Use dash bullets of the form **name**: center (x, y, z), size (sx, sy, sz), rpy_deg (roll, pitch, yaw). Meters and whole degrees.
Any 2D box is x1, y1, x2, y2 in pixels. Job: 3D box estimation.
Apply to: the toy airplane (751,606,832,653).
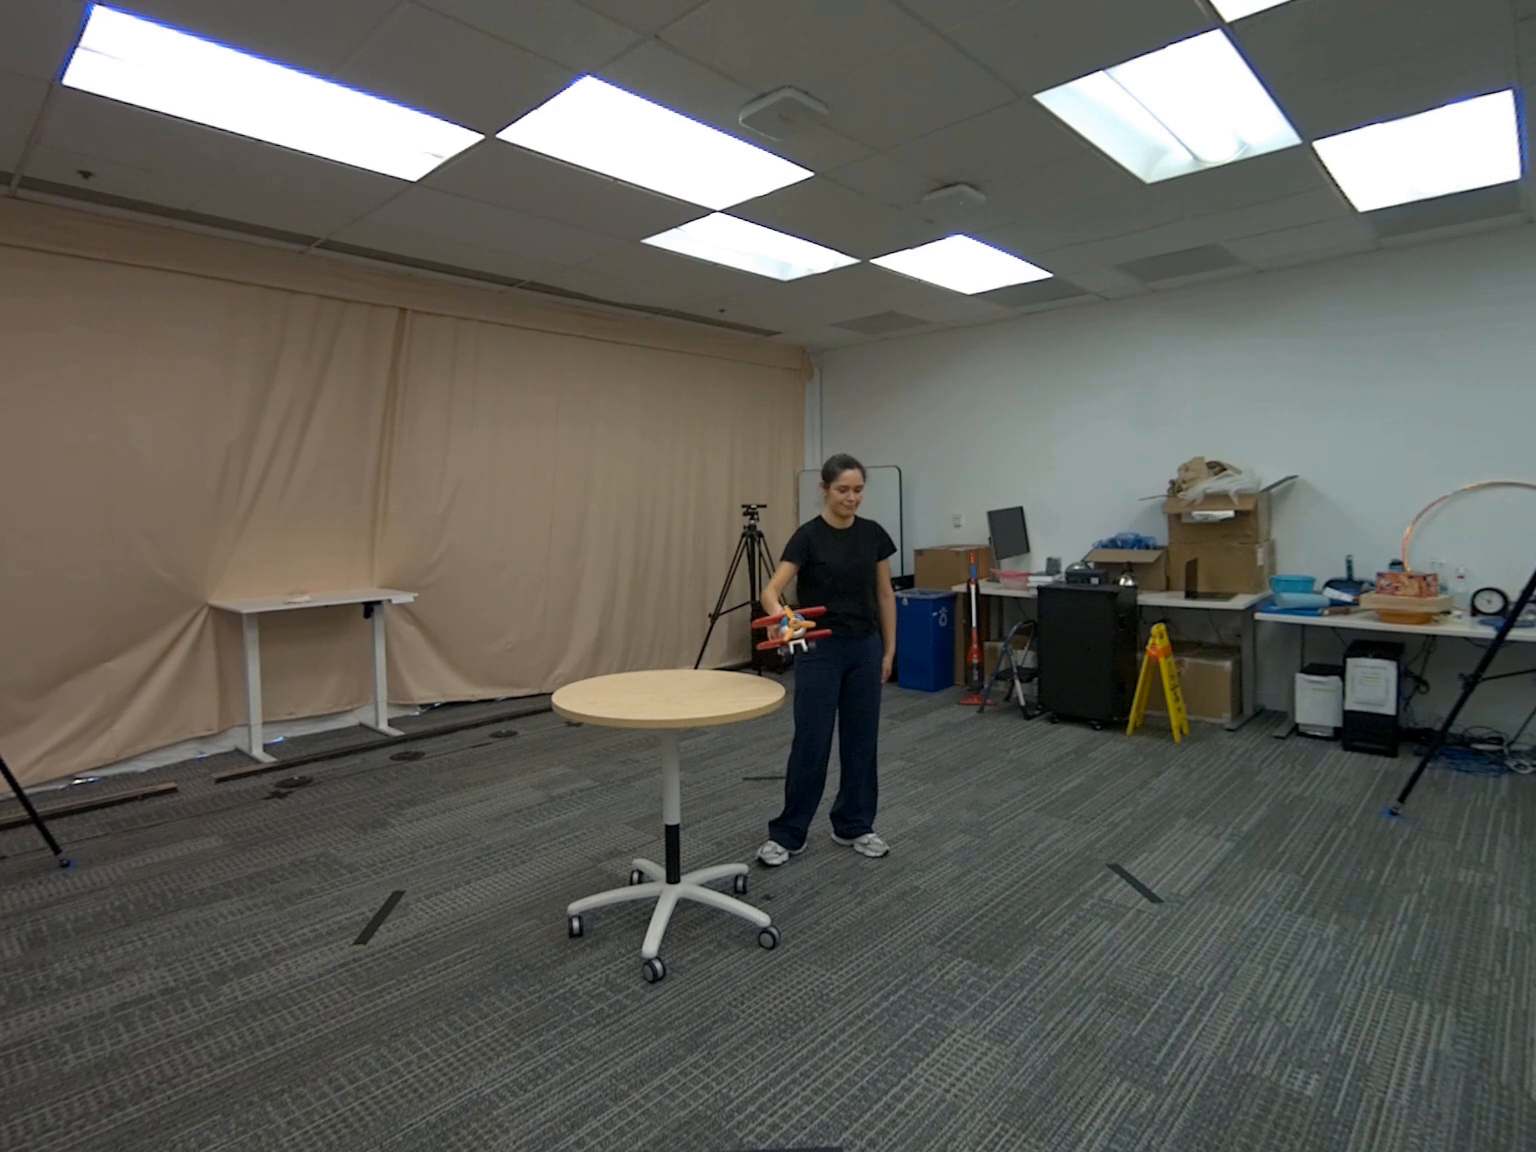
- **toy airplane**: center (0.056, 0.199, 2.862), size (0.245, 0.156, 0.266), rpy_deg (-11, 1, -32)
